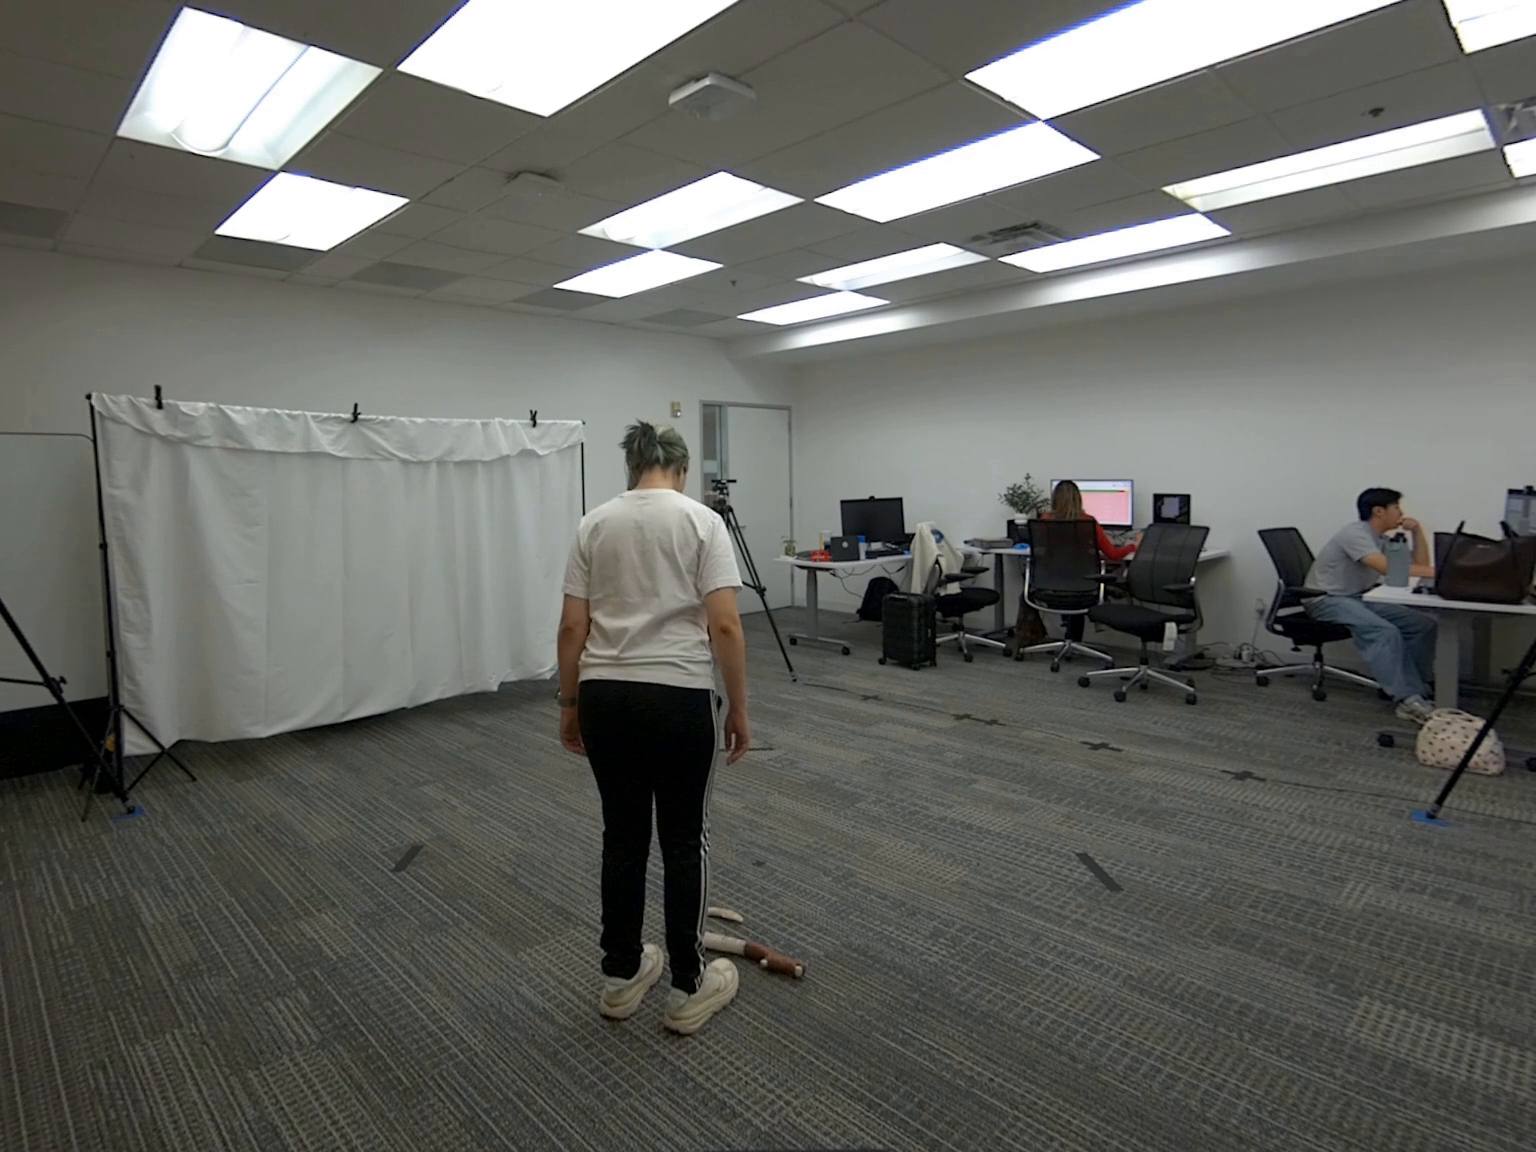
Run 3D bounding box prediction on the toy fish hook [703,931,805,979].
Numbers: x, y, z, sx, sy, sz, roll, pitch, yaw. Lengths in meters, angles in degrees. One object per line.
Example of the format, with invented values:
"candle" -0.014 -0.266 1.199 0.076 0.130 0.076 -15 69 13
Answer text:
"toy fish hook" -0.077 1.089 2.575 0.521 0.048 0.219 4 10 36
